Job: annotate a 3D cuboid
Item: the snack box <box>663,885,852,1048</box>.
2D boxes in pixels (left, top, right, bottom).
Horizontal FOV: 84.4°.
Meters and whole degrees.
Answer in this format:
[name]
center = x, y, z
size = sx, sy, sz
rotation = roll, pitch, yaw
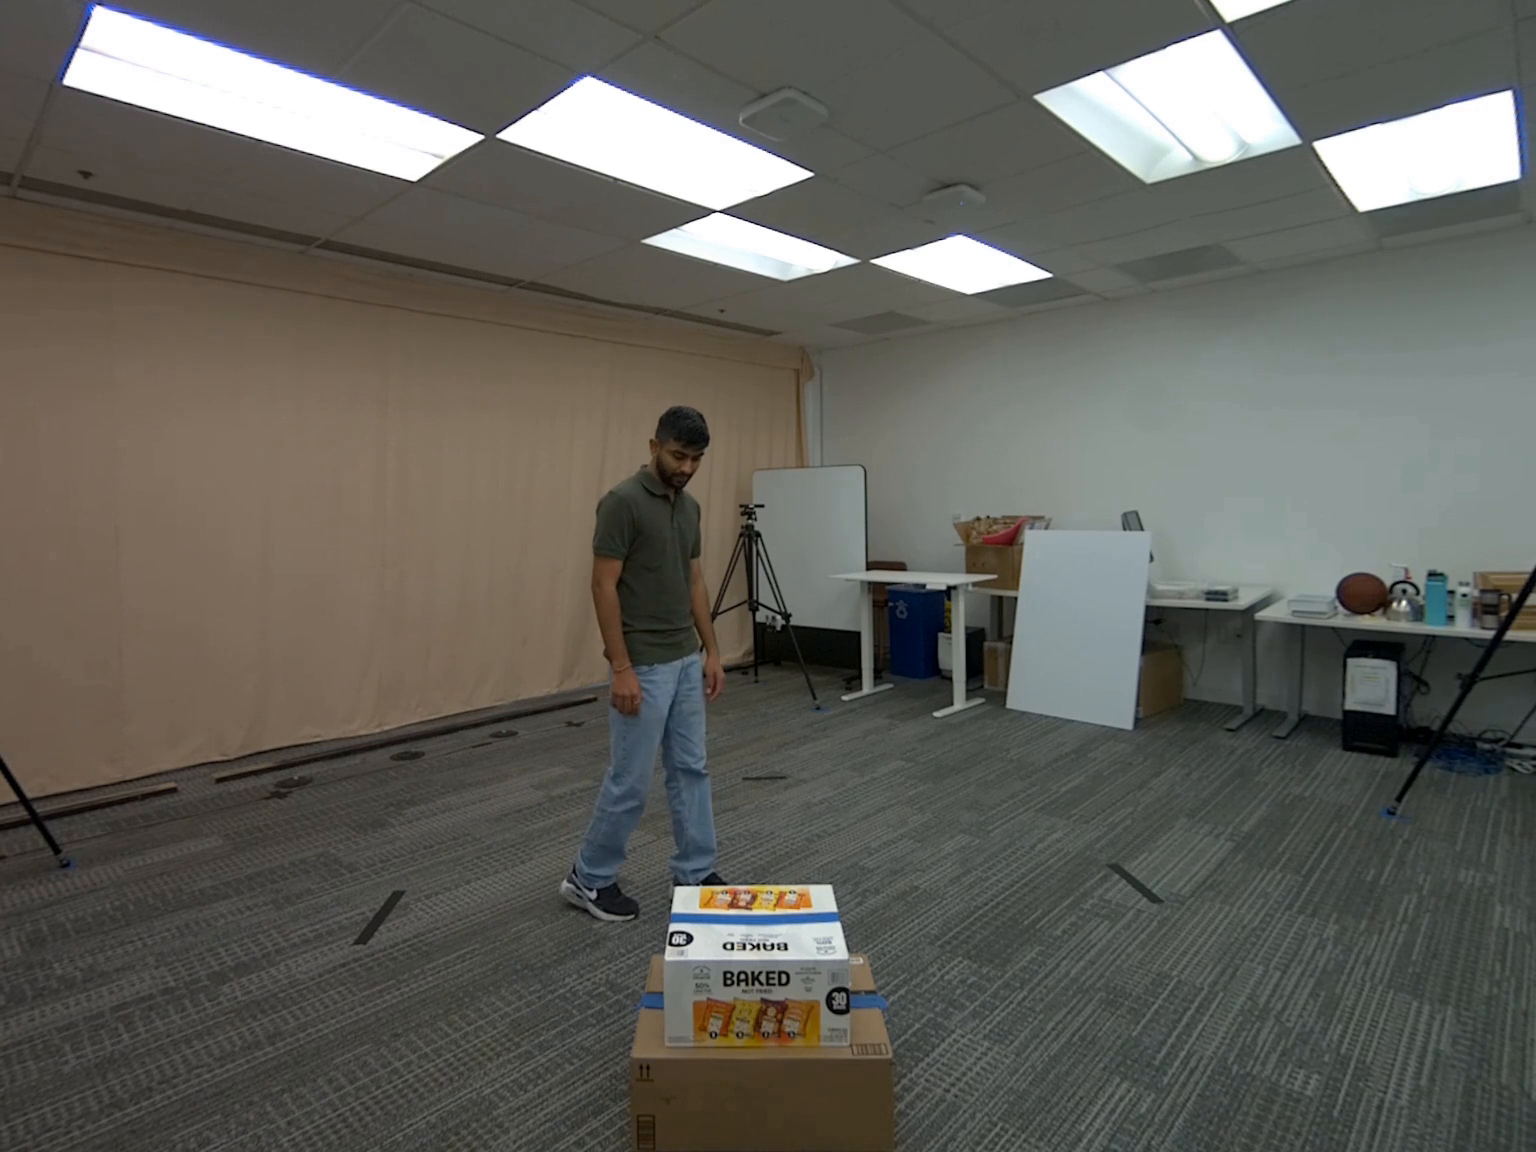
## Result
[snack box]
center = -0.020, 0.909, 1.983
size = 0.405, 0.205, 0.341
rotation = -1, 5, -1
